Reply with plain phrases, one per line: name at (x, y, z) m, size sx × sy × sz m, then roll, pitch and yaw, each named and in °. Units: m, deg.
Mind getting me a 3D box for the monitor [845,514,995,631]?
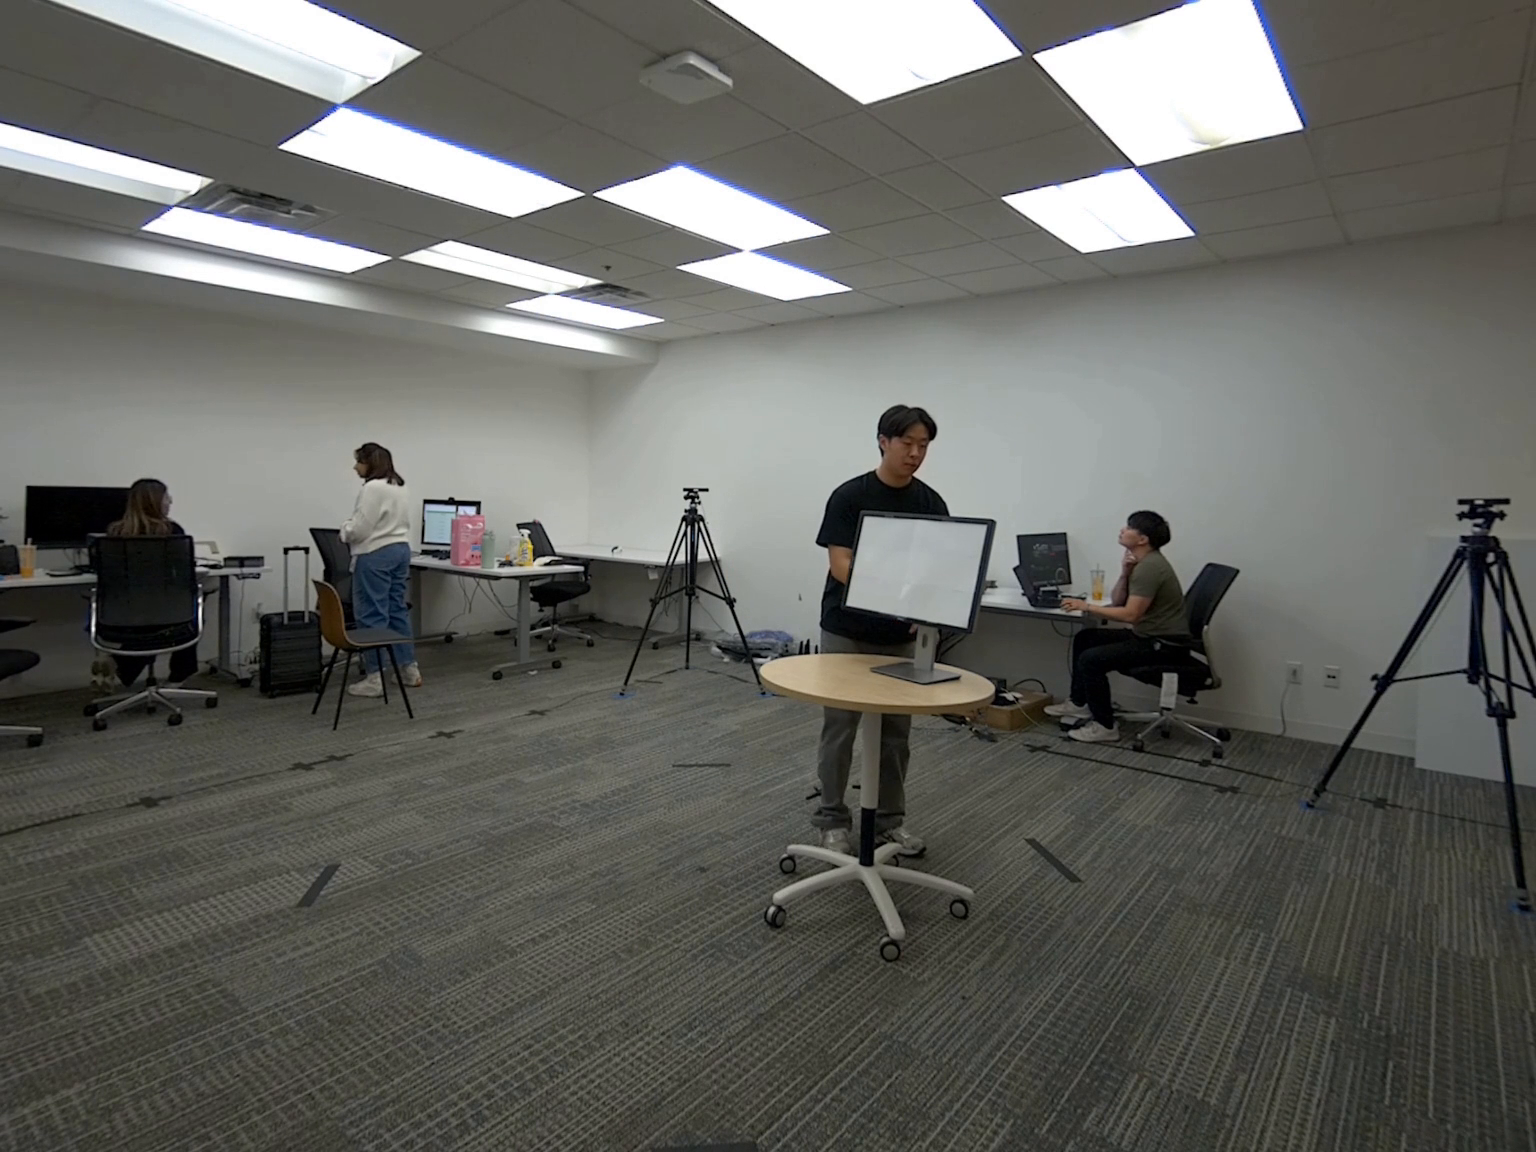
monitor at (0.501, 0.073, 2.866) m, size 0.216 × 0.563 × 0.581 m, roll -3°, pitch 6°, yaw -36°
